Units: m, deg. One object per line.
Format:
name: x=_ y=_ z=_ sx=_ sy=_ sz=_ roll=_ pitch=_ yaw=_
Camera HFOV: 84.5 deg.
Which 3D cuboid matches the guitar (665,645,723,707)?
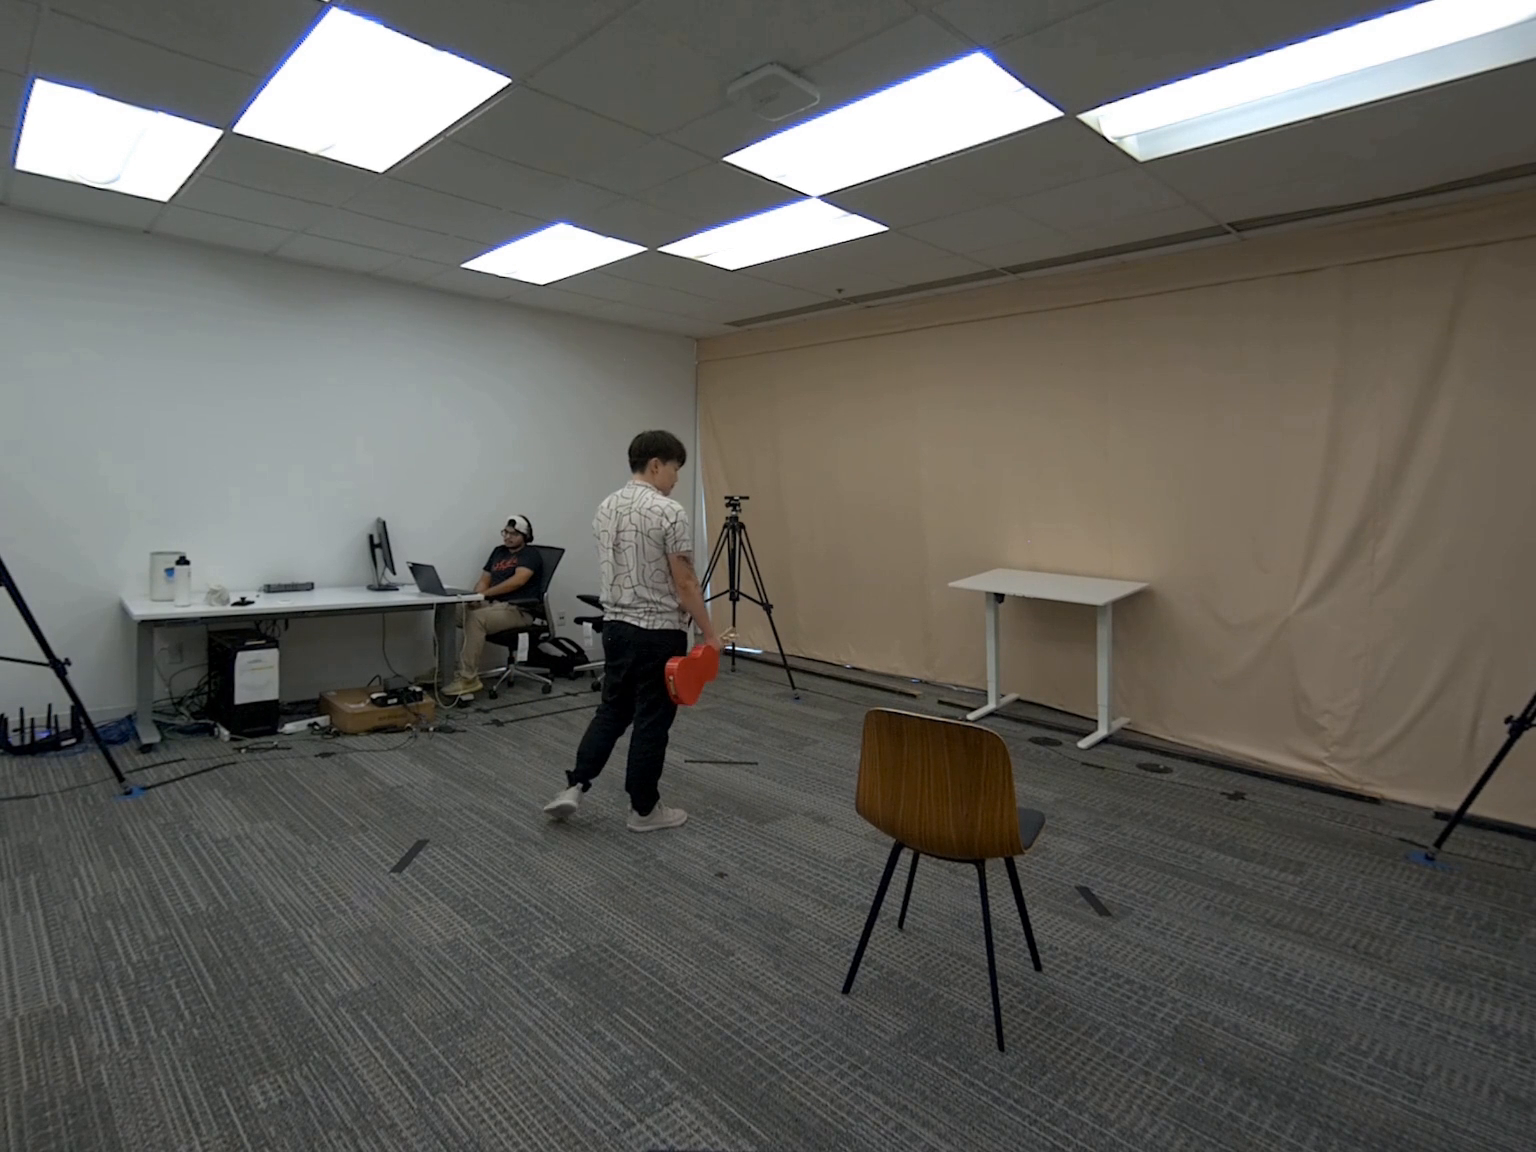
guitar: x=-0.267 y=0.308 z=3.375 sx=0.072 sy=0.189 sz=0.498 roll=-5 pitch=28 yaw=33
